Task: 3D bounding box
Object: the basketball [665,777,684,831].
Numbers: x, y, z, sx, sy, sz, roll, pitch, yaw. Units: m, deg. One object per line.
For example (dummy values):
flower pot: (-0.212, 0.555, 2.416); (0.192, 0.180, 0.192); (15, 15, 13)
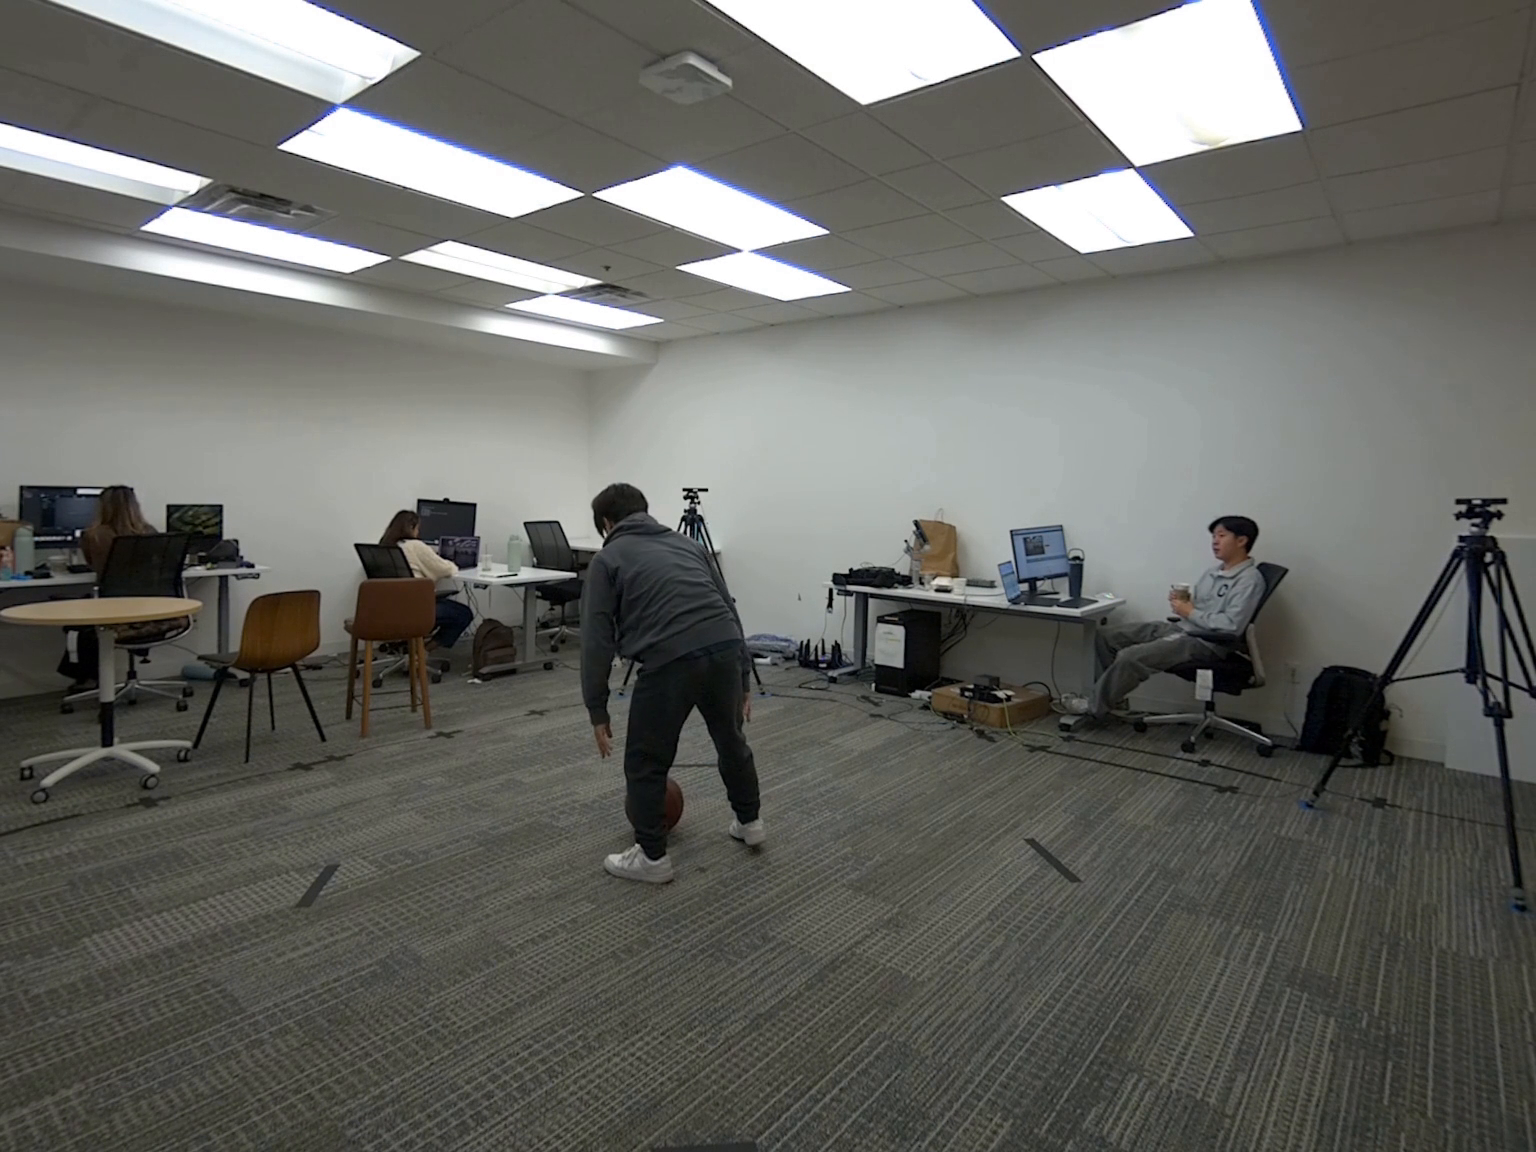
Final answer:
basketball: (-0.467, 0.910, 3.432); (0.235, 0.235, 0.237); (1, 4, -2)
